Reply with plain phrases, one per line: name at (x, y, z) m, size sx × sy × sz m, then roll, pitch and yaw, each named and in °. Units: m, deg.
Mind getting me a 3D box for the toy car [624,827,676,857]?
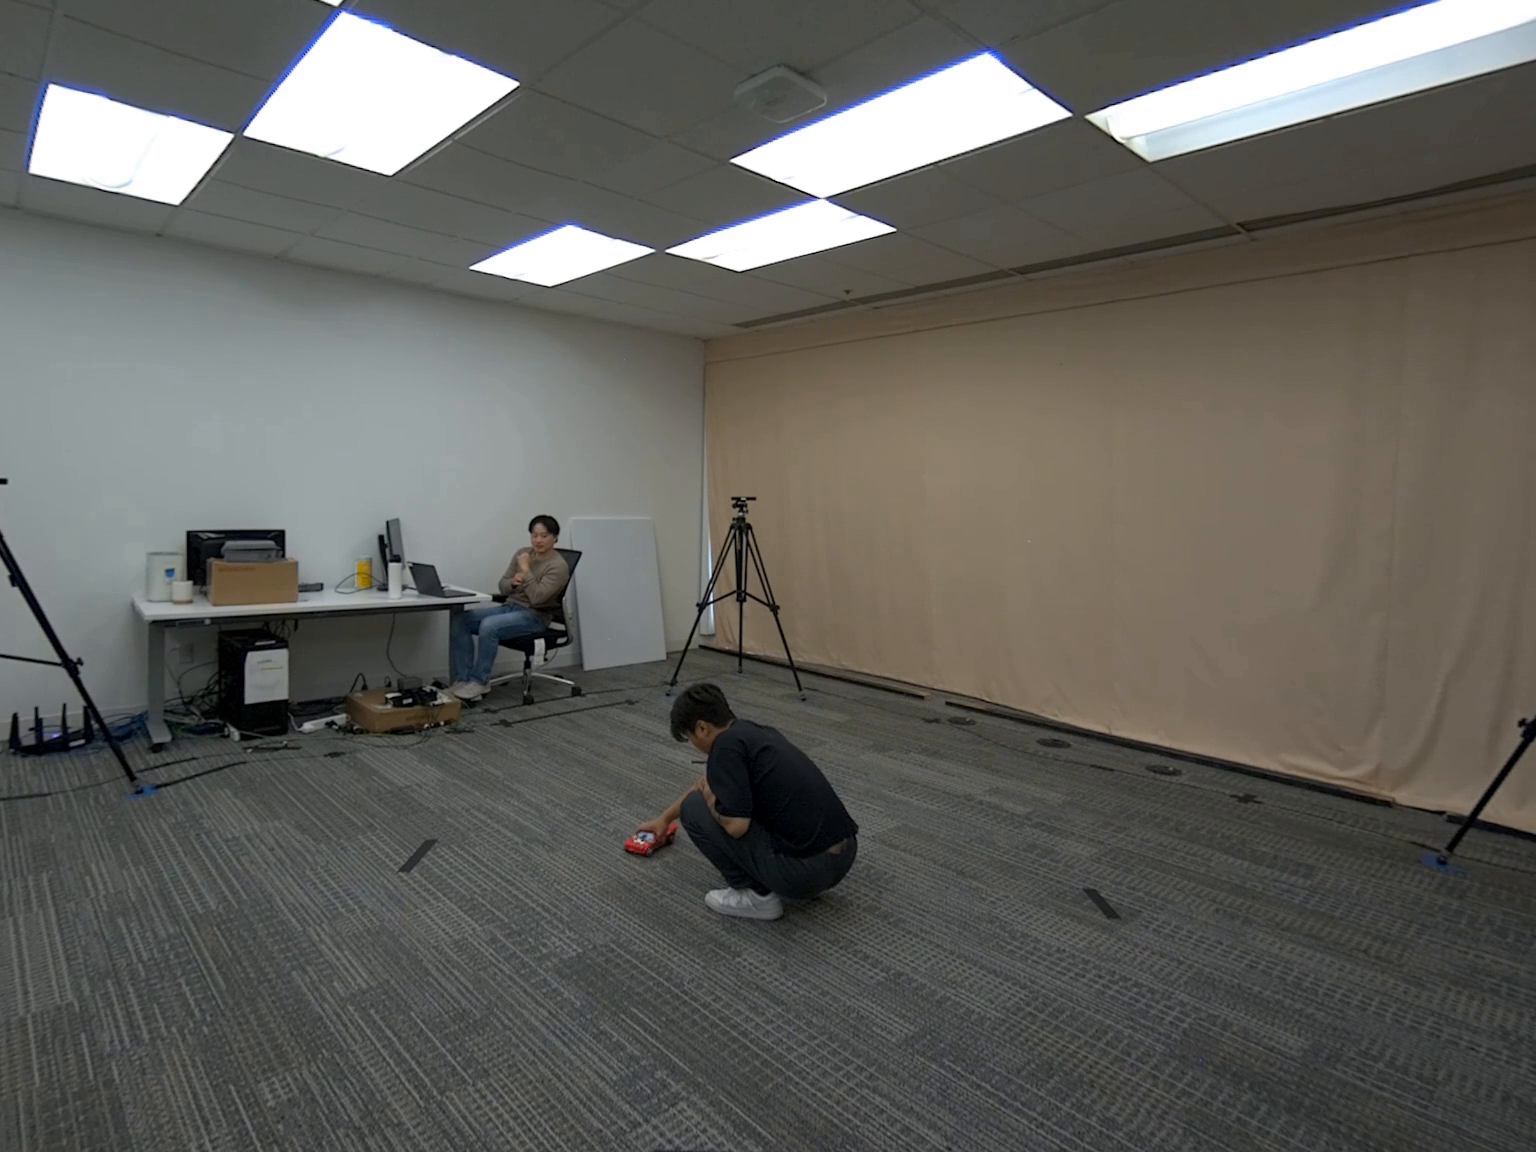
toy car at (-0.465, 1.045, 3.362) m, size 0.133 × 0.082 × 0.252 m, roll 3°, pitch 16°, yaw 29°
